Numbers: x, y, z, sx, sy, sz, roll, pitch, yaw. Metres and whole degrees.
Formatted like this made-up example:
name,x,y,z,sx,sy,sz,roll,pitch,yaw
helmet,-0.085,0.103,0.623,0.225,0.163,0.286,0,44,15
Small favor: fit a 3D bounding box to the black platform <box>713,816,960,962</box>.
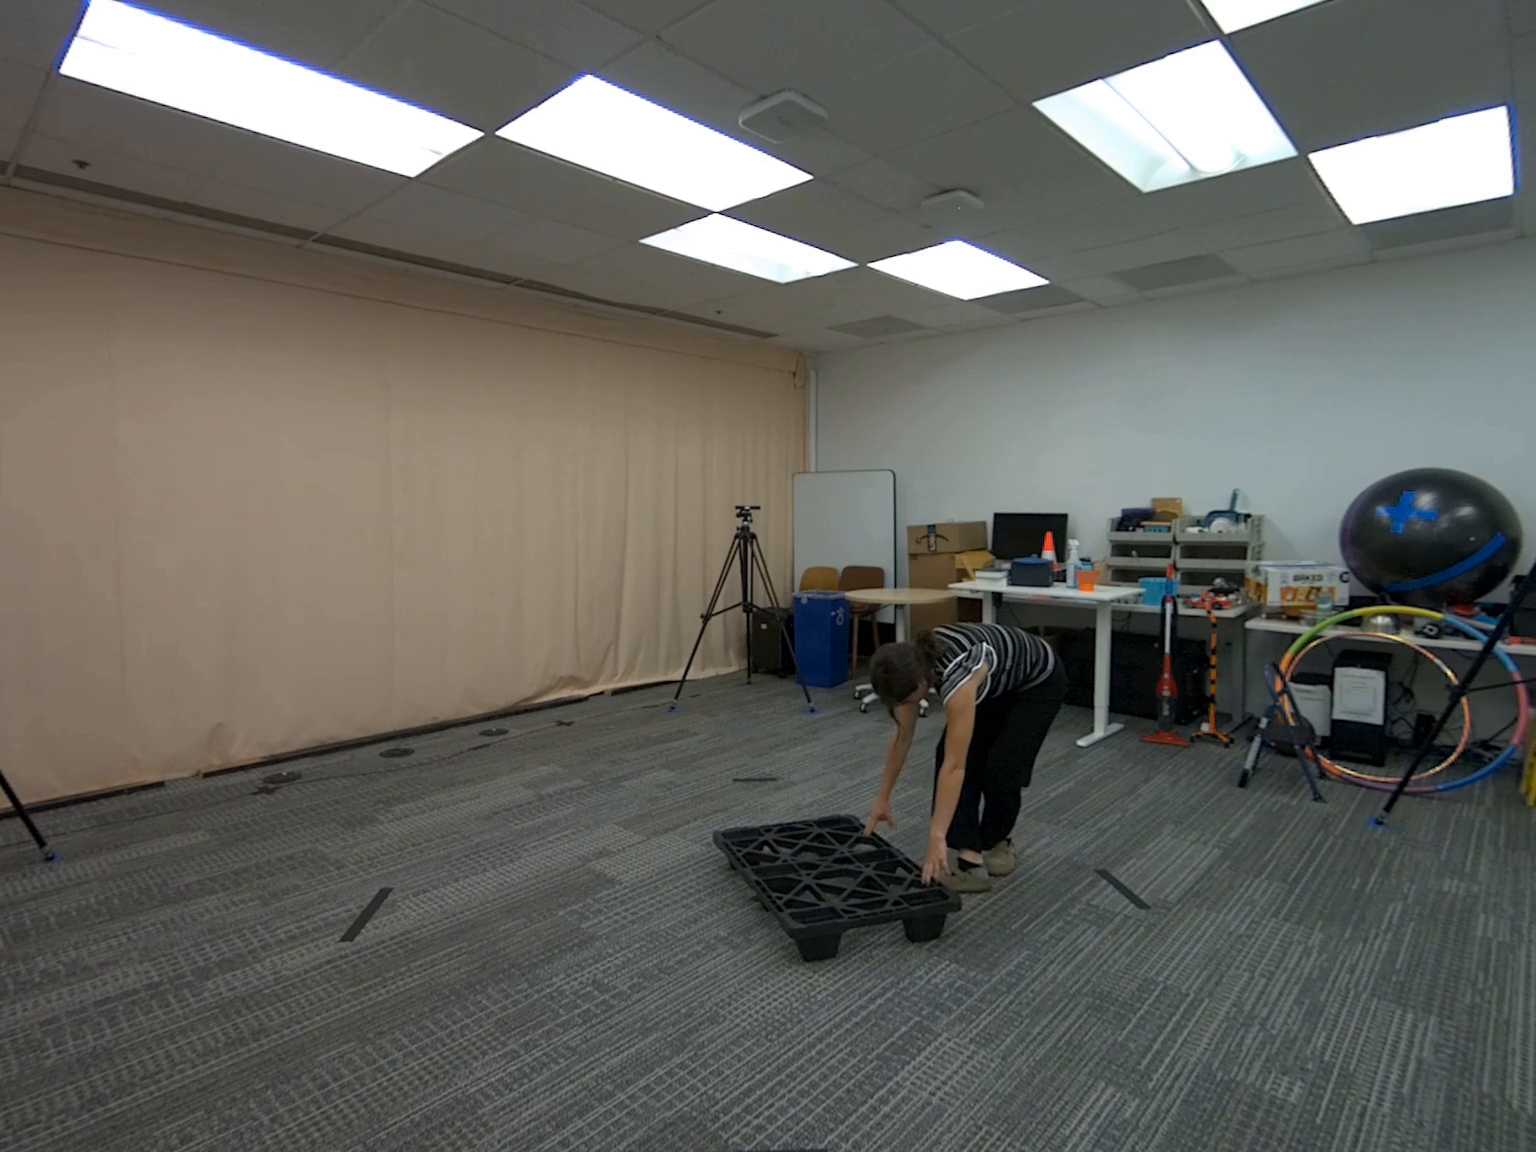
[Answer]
name,x,y,z,sx,sy,sz,roll,pitch,yaw
black platform,0.207,1.076,2.971,0.594,0.143,0.823,-2,5,-19
